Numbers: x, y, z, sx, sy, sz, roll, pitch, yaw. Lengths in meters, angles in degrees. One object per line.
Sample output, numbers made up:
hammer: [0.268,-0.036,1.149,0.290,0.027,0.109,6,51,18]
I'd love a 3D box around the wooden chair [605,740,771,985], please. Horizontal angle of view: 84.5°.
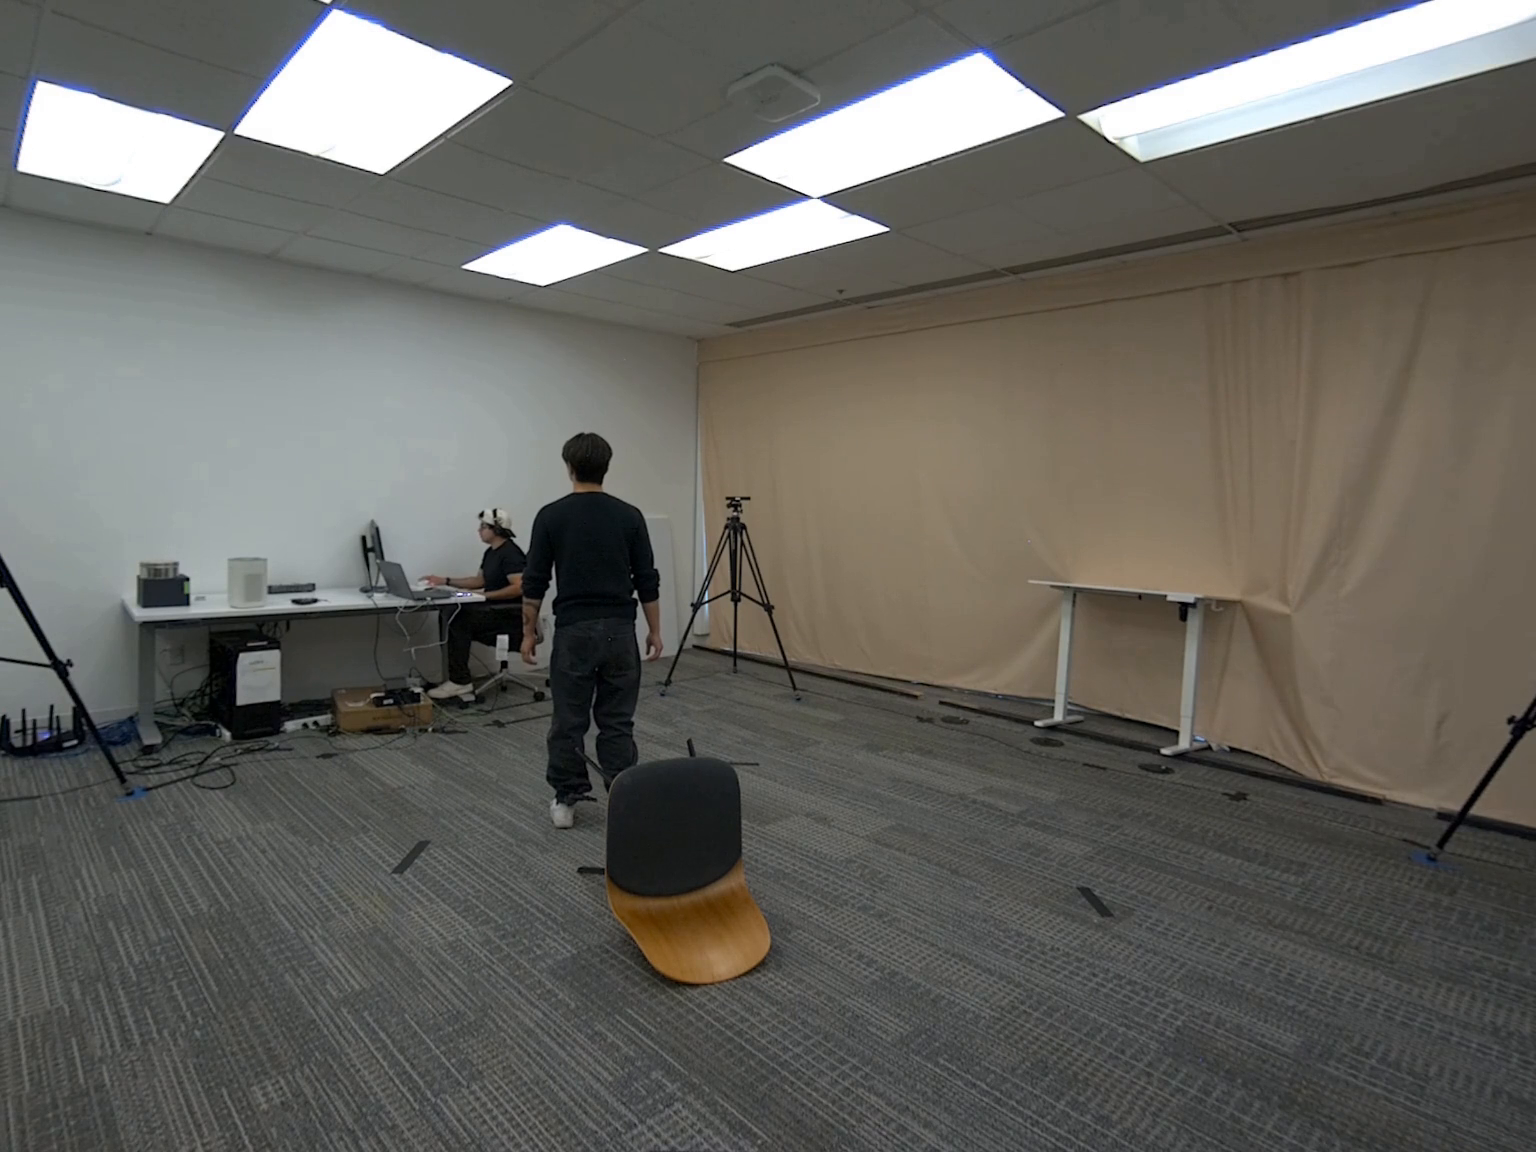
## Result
wooden chair: [-0.328,0.873,2.800,0.470,0.521,0.895,-1,6,-24]
